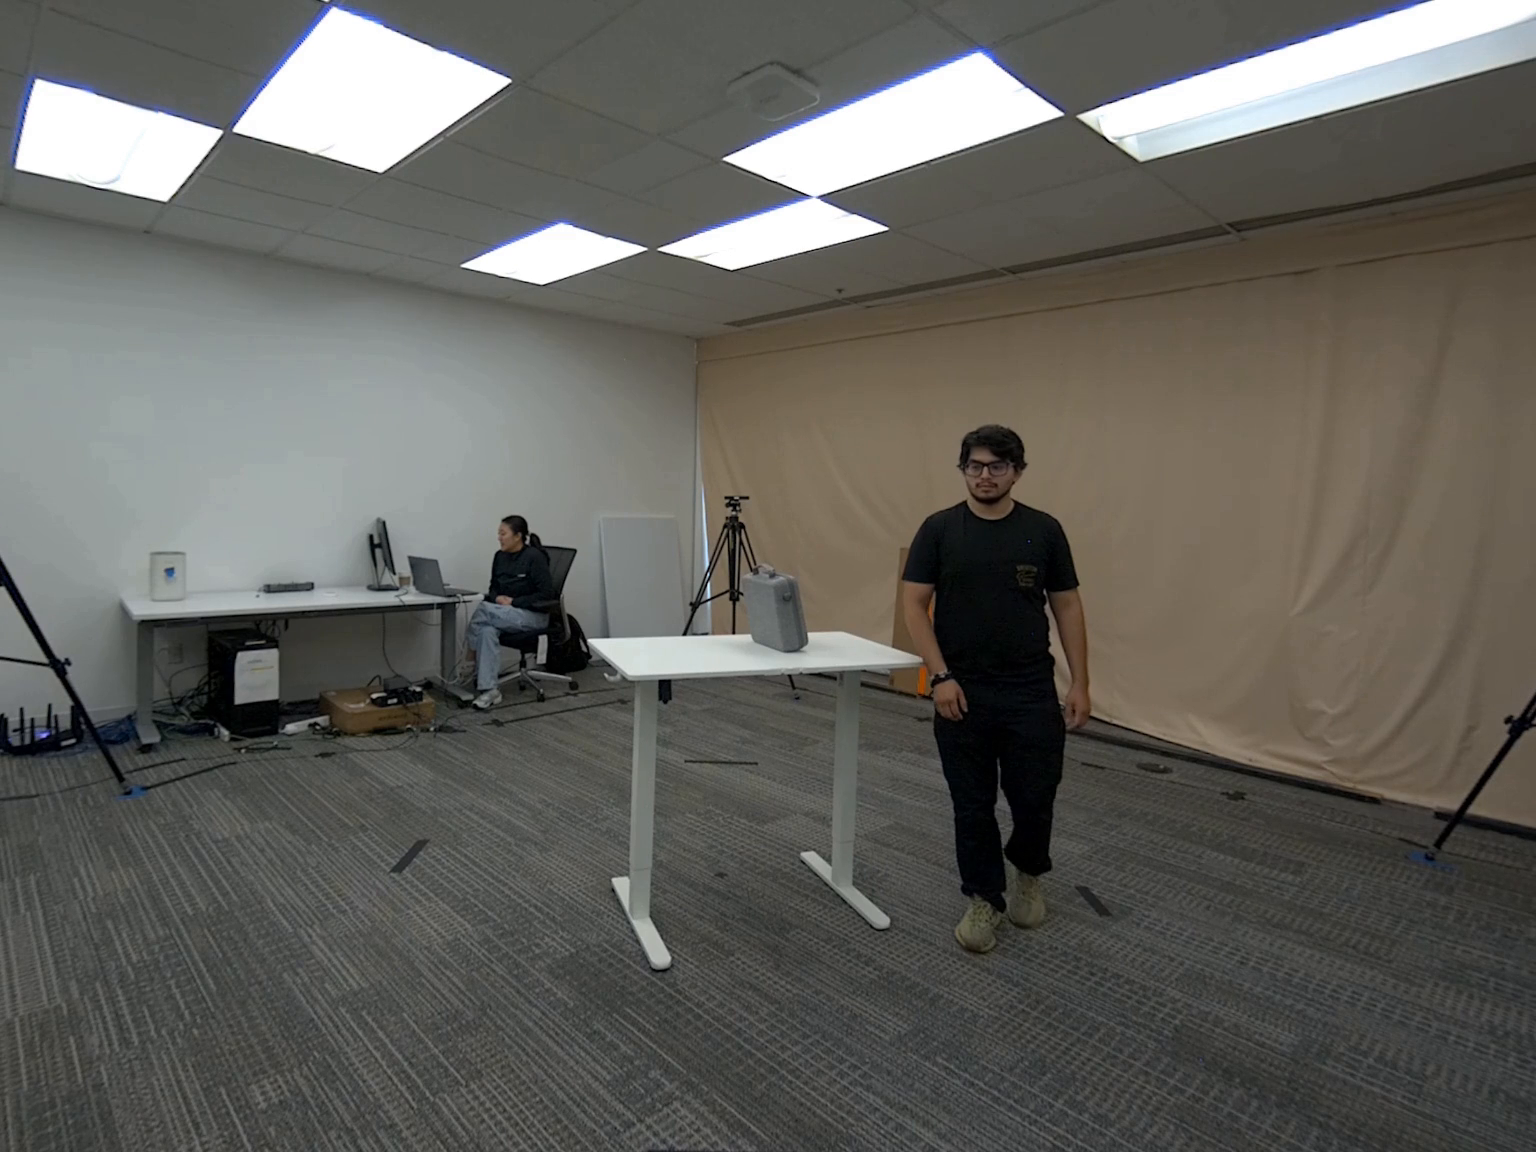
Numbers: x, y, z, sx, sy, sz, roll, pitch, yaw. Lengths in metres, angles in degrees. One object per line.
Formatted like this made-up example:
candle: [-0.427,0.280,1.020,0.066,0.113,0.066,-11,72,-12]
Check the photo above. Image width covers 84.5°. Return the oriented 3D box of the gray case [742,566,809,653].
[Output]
gray case: [0.015,0.114,2.885,0.103,0.258,0.262,-15,11,-24]
